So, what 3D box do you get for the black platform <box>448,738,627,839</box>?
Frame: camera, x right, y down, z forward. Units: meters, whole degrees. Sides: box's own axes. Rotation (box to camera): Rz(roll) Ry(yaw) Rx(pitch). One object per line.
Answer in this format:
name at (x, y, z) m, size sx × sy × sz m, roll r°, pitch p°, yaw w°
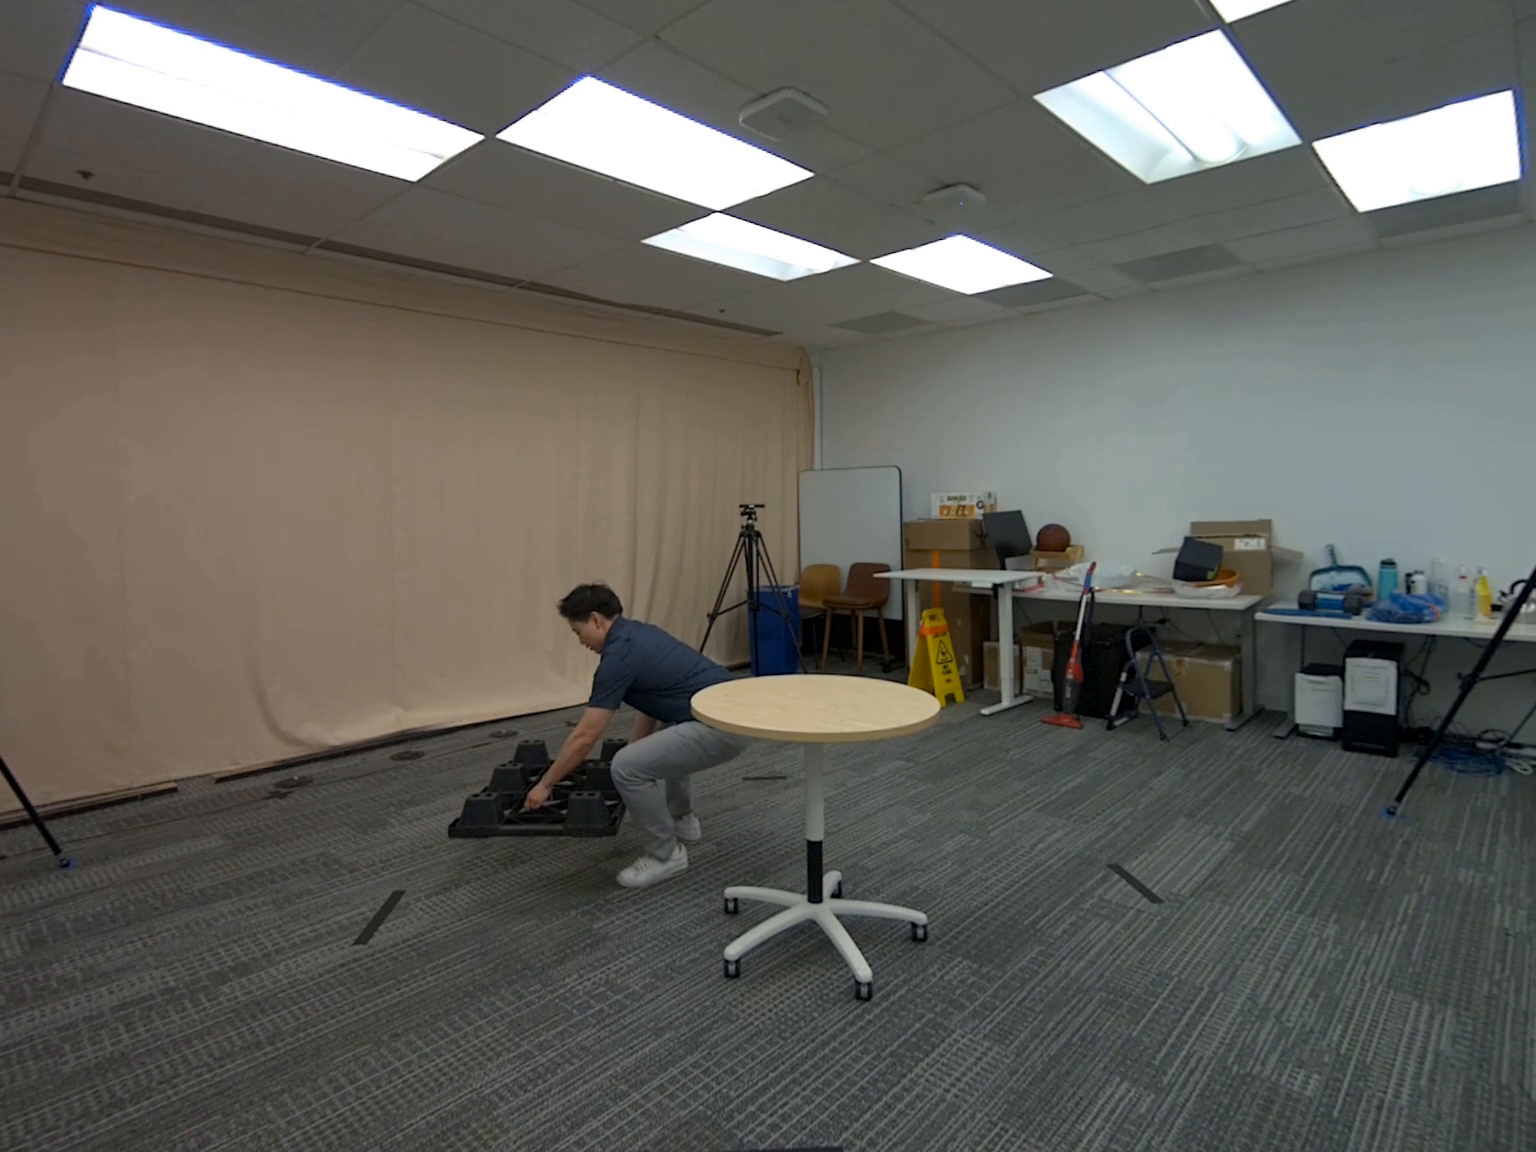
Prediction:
black platform at (-0.844, 0.818, 3.328) m, size 0.606 × 0.143 × 0.807 m, roll -1°, pitch 4°, yaw 0°
